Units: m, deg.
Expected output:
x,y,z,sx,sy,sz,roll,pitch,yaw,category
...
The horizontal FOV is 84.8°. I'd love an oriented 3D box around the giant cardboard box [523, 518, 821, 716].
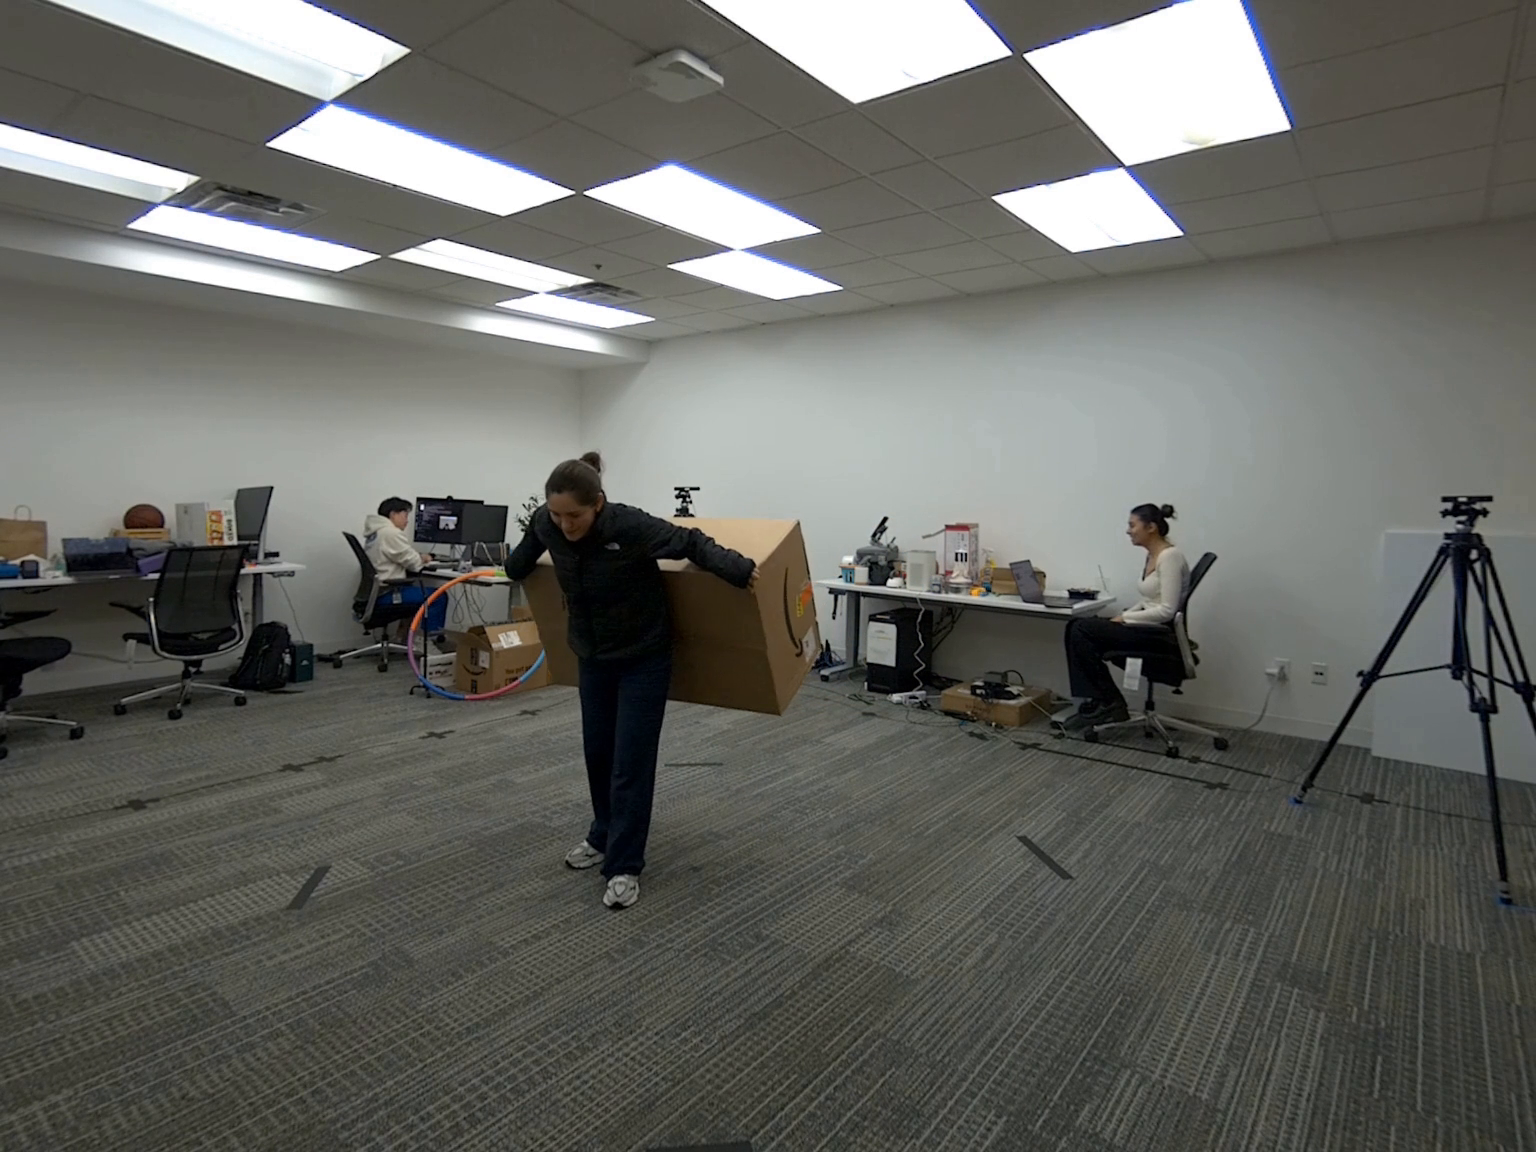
x,y,z,sx,sy,sz,roll,pitch,yaw,category
-0.358,0.114,3.309,1.055,0.562,0.425,3,29,29,giant cardboard box
